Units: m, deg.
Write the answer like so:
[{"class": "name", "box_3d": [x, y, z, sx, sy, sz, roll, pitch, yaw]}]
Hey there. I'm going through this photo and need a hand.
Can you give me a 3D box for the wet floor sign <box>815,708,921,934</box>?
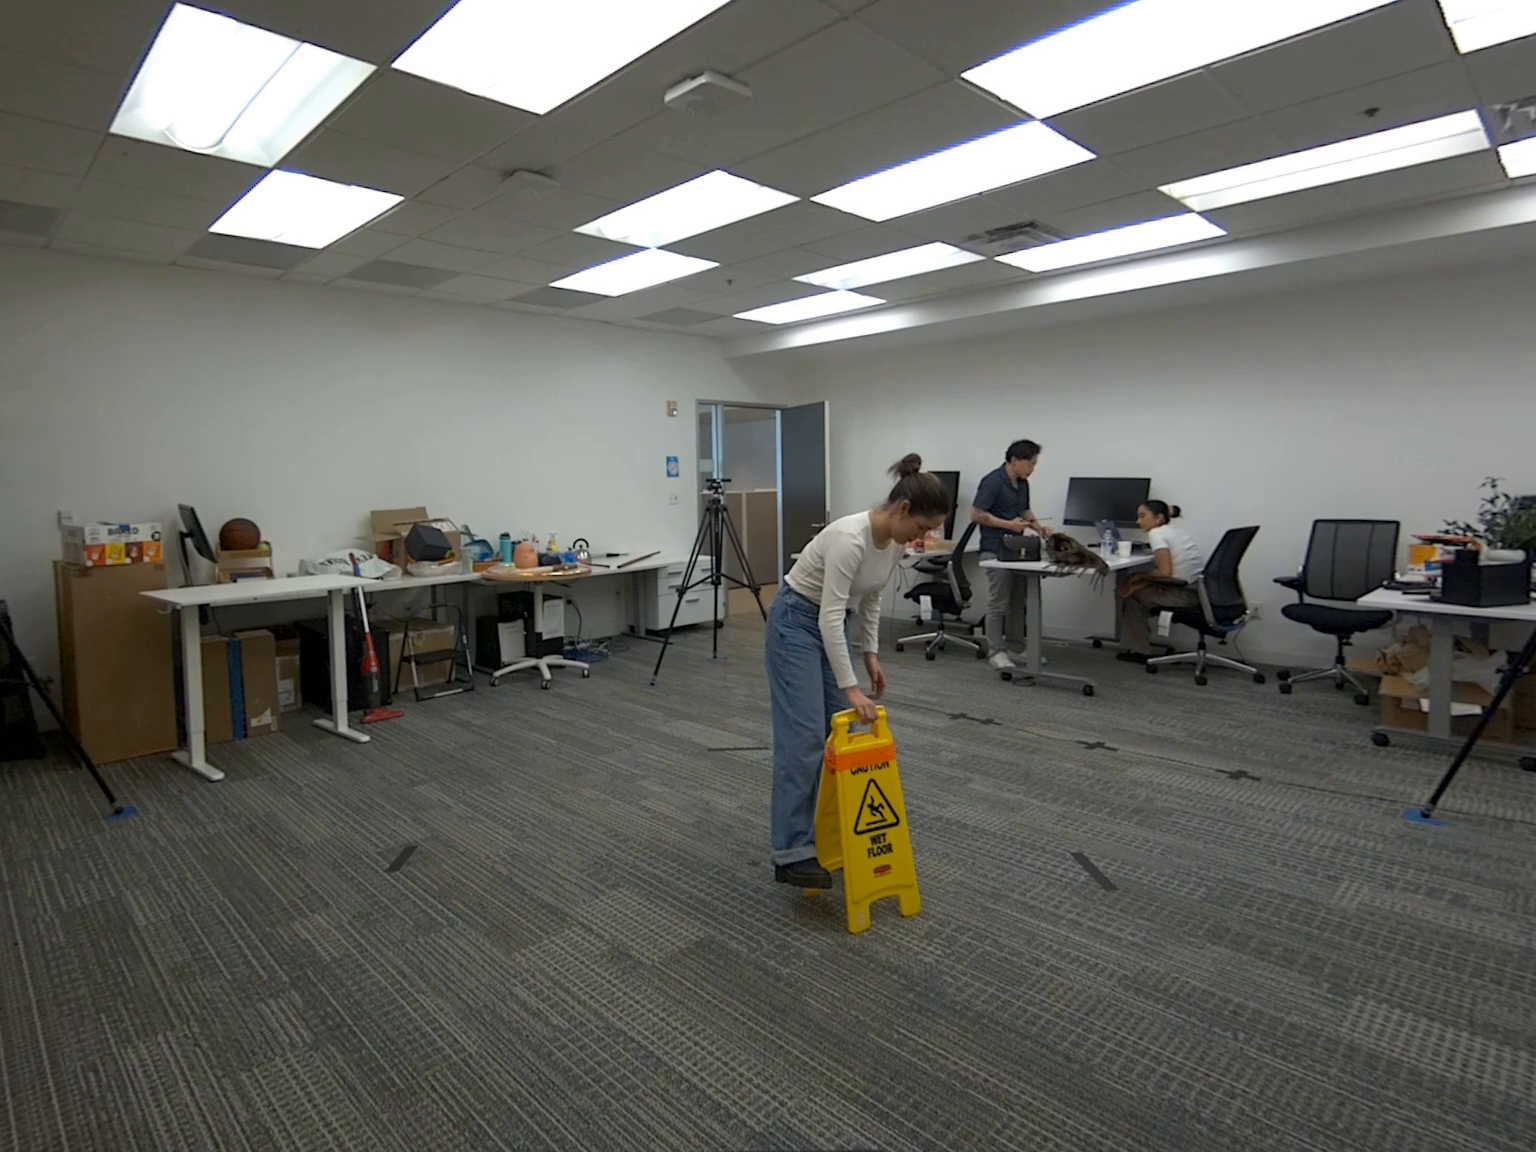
[{"class": "wet floor sign", "box_3d": [0.300, 0.751, 2.783, 0.276, 0.644, 0.298, -3, 5, -29]}]
